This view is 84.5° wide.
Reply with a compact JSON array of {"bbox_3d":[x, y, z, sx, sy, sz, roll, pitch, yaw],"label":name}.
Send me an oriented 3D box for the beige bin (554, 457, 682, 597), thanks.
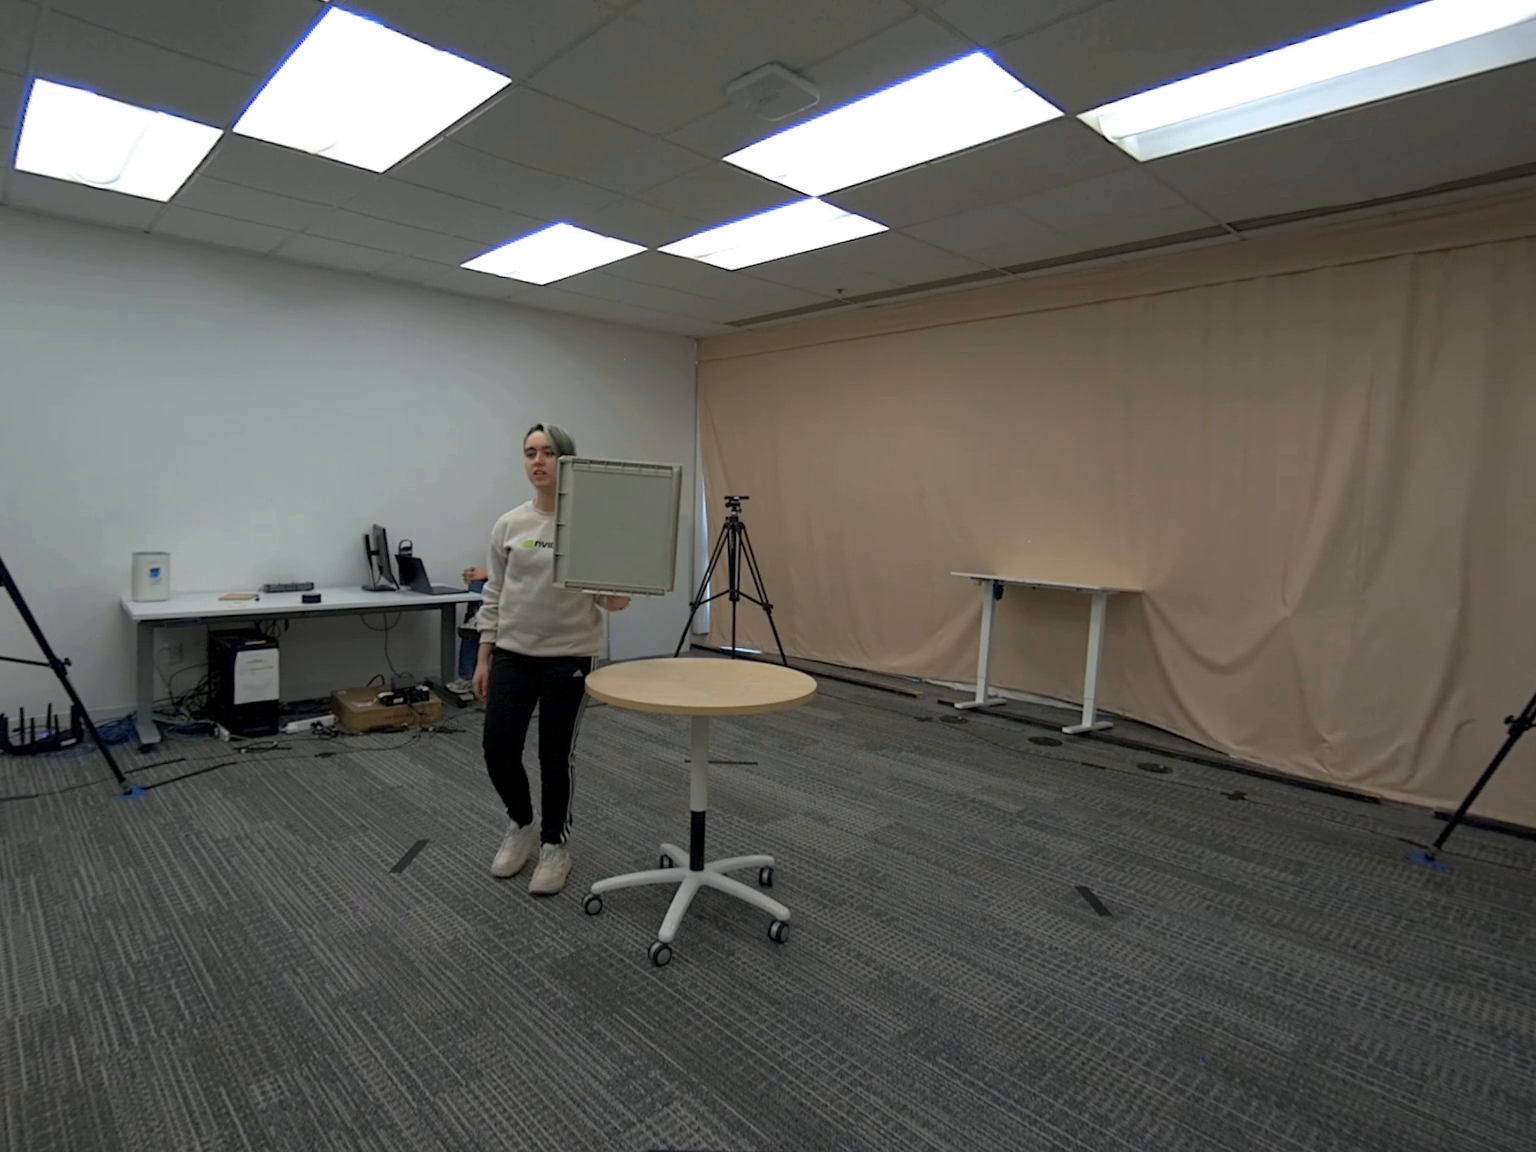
[{"bbox_3d":[-0.483,-0.159,2.693,0.378,0.421,0.189,4,4,1],"label":"beige bin"}]
